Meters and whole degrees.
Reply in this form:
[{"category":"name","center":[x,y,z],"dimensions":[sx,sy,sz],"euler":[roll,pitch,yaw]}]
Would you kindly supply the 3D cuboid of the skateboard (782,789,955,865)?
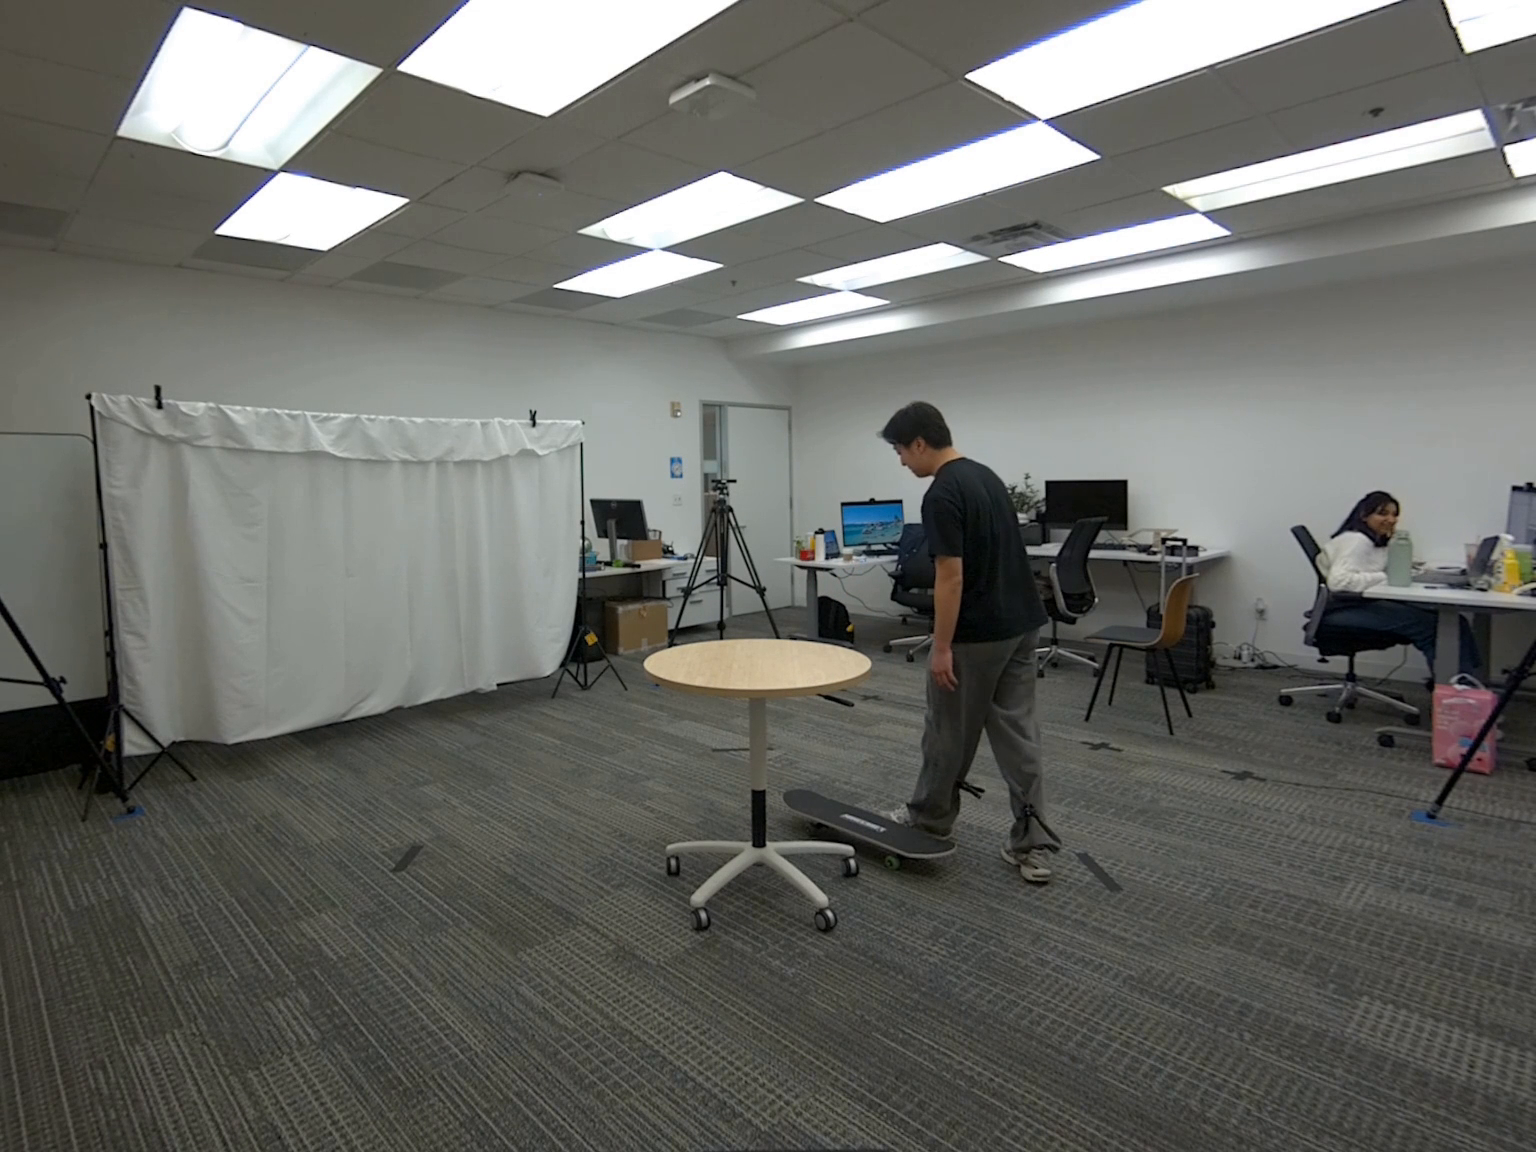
[{"category":"skateboard","center":[0.370,0.977,3.235],"dimensions":[0.188,0.110,0.810],"euler":[-8,9,-41]}]
